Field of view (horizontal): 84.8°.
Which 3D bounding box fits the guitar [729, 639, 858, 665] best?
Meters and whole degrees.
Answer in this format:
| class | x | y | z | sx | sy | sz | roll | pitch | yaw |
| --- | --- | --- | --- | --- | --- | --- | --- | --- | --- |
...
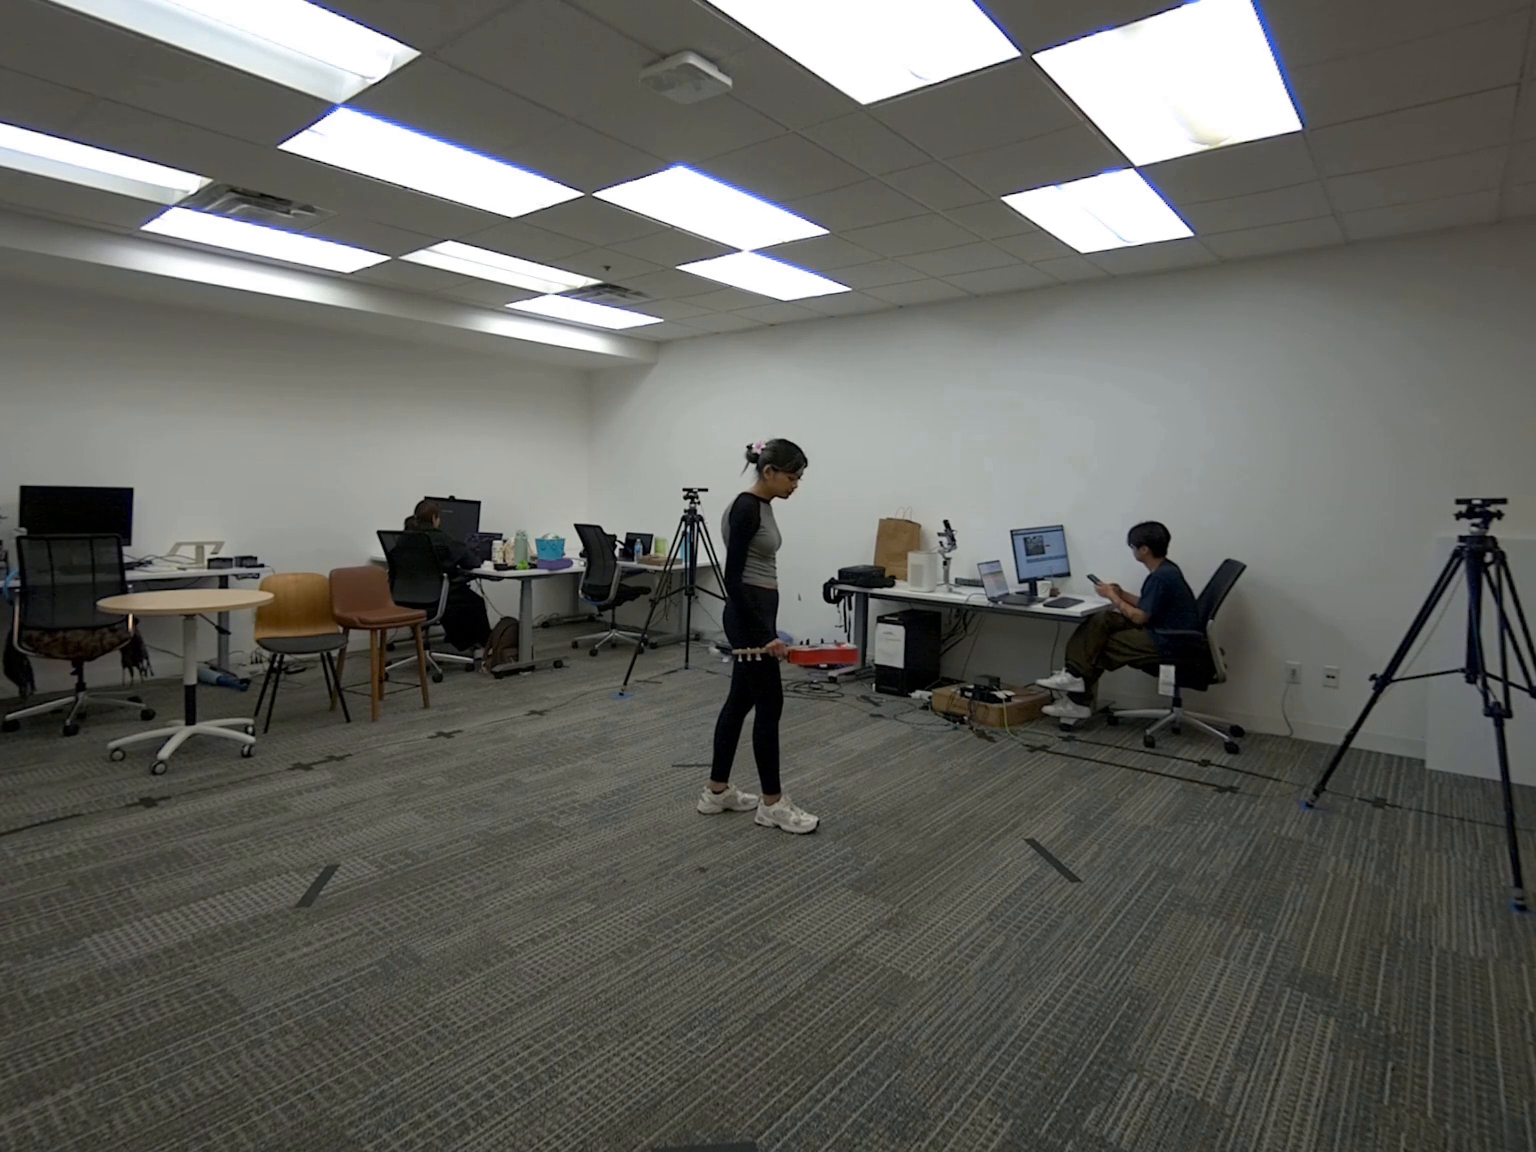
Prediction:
| class | x | y | z | sx | sy | sz | roll | pitch | yaw |
| --- | --- | --- | --- | --- | --- | --- | --- | --- | --- |
| guitar | 0.093 | 0.302 | 3.382 | 0.497 | 0.070 | 0.193 | -1 | 3 | -1 |
